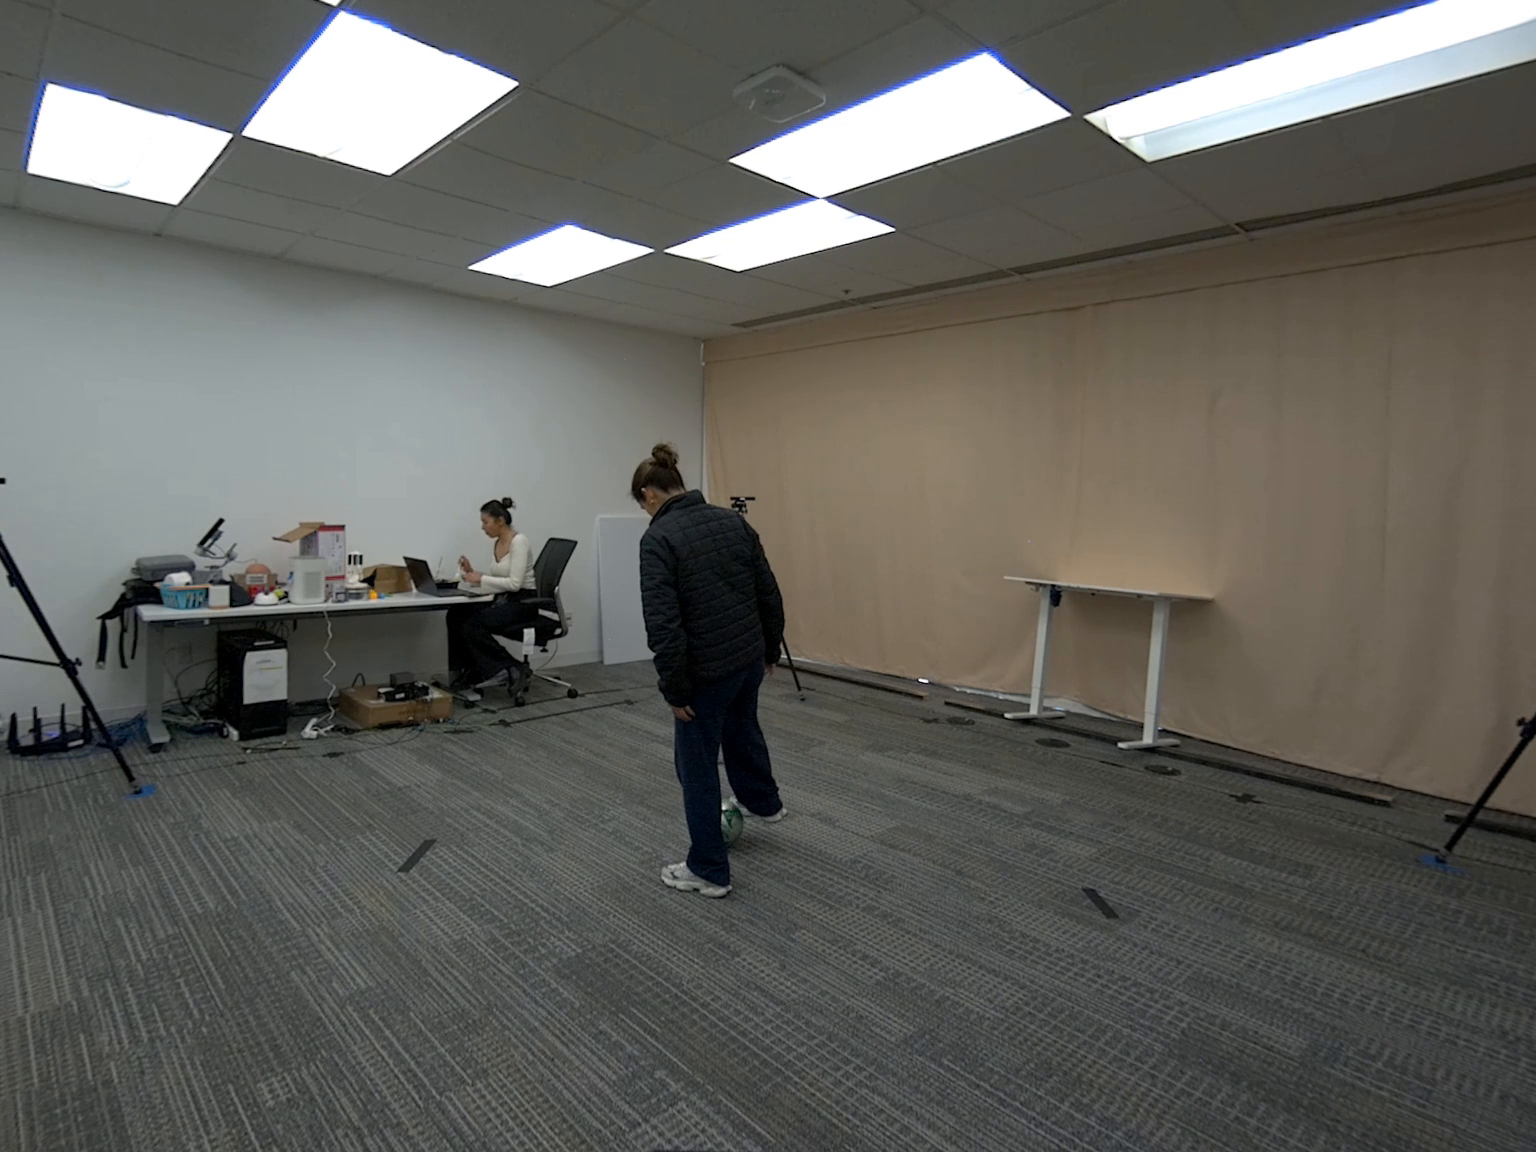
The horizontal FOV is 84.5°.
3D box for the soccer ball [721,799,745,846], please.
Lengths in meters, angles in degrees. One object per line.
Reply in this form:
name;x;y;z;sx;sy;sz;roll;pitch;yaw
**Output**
soccer ball;-0.189;0.988;3.362;0.187;0.187;0.188;1;4;-1
